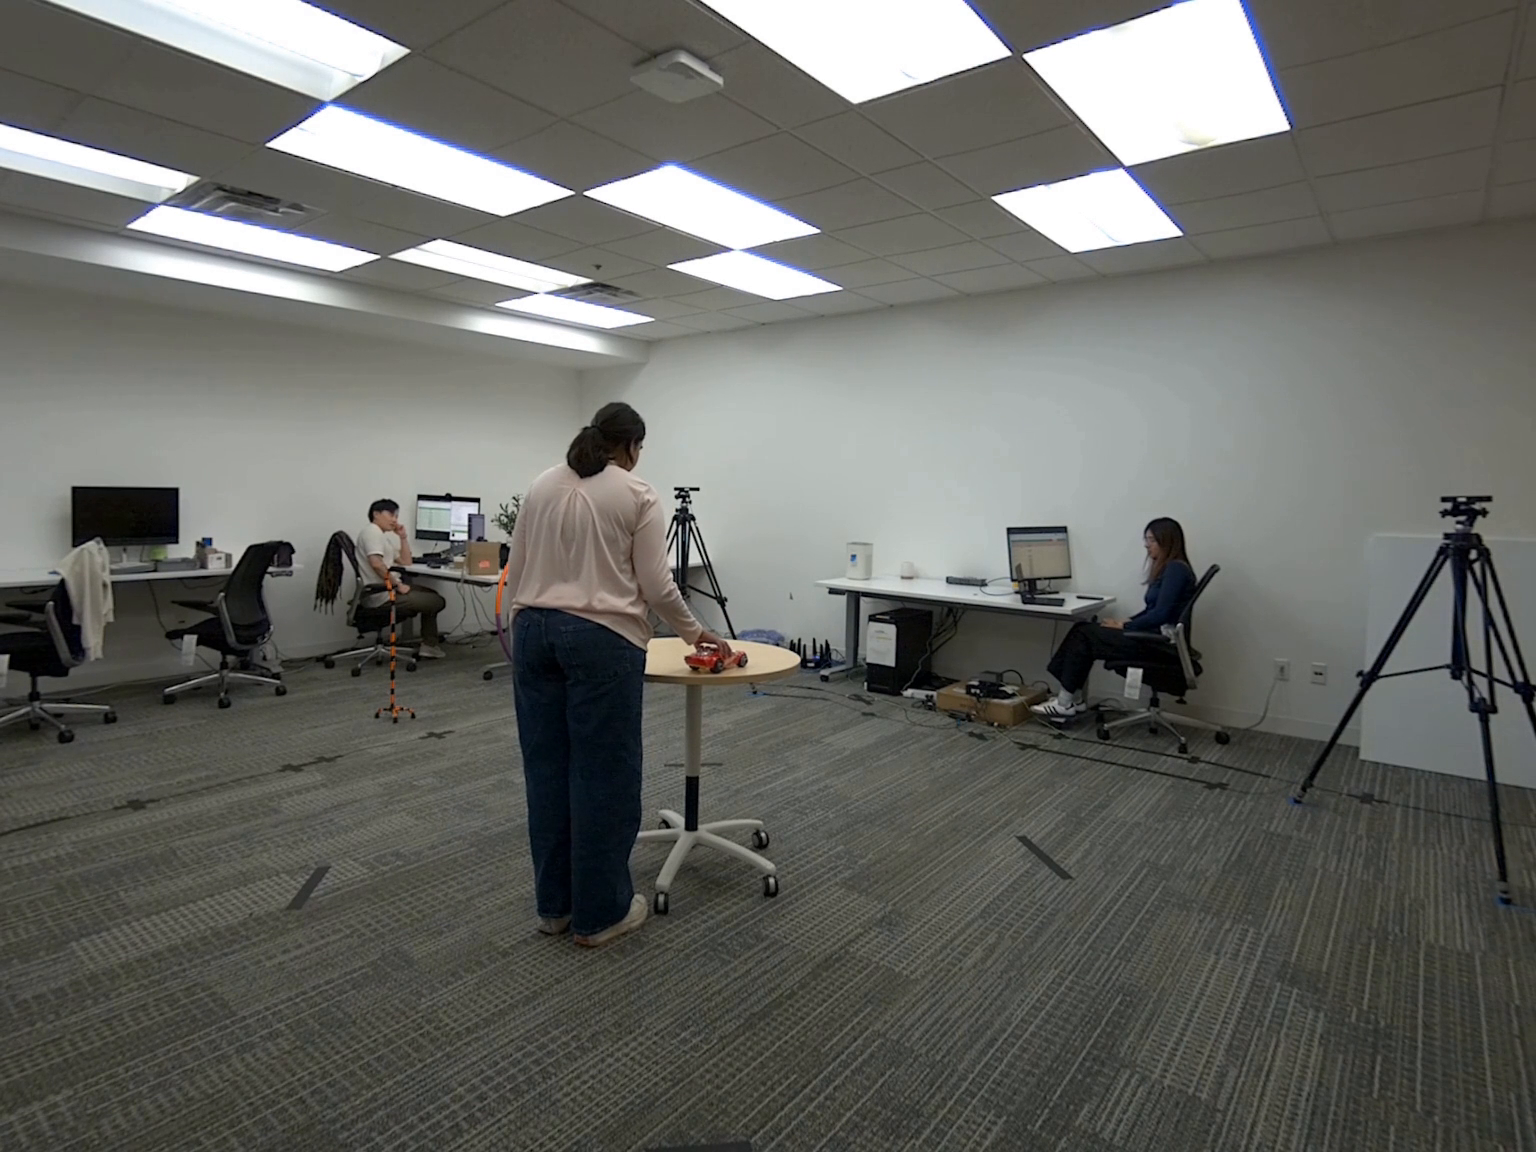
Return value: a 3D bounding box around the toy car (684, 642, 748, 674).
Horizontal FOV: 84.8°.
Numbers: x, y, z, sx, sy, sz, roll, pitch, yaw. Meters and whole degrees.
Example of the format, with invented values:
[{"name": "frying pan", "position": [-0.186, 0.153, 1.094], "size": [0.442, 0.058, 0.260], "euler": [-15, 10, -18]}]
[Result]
[{"name": "toy car", "position": [-0.187, 0.278, 2.837], "size": [0.134, 0.083, 0.245], "euler": [4, -6, 34]}]
